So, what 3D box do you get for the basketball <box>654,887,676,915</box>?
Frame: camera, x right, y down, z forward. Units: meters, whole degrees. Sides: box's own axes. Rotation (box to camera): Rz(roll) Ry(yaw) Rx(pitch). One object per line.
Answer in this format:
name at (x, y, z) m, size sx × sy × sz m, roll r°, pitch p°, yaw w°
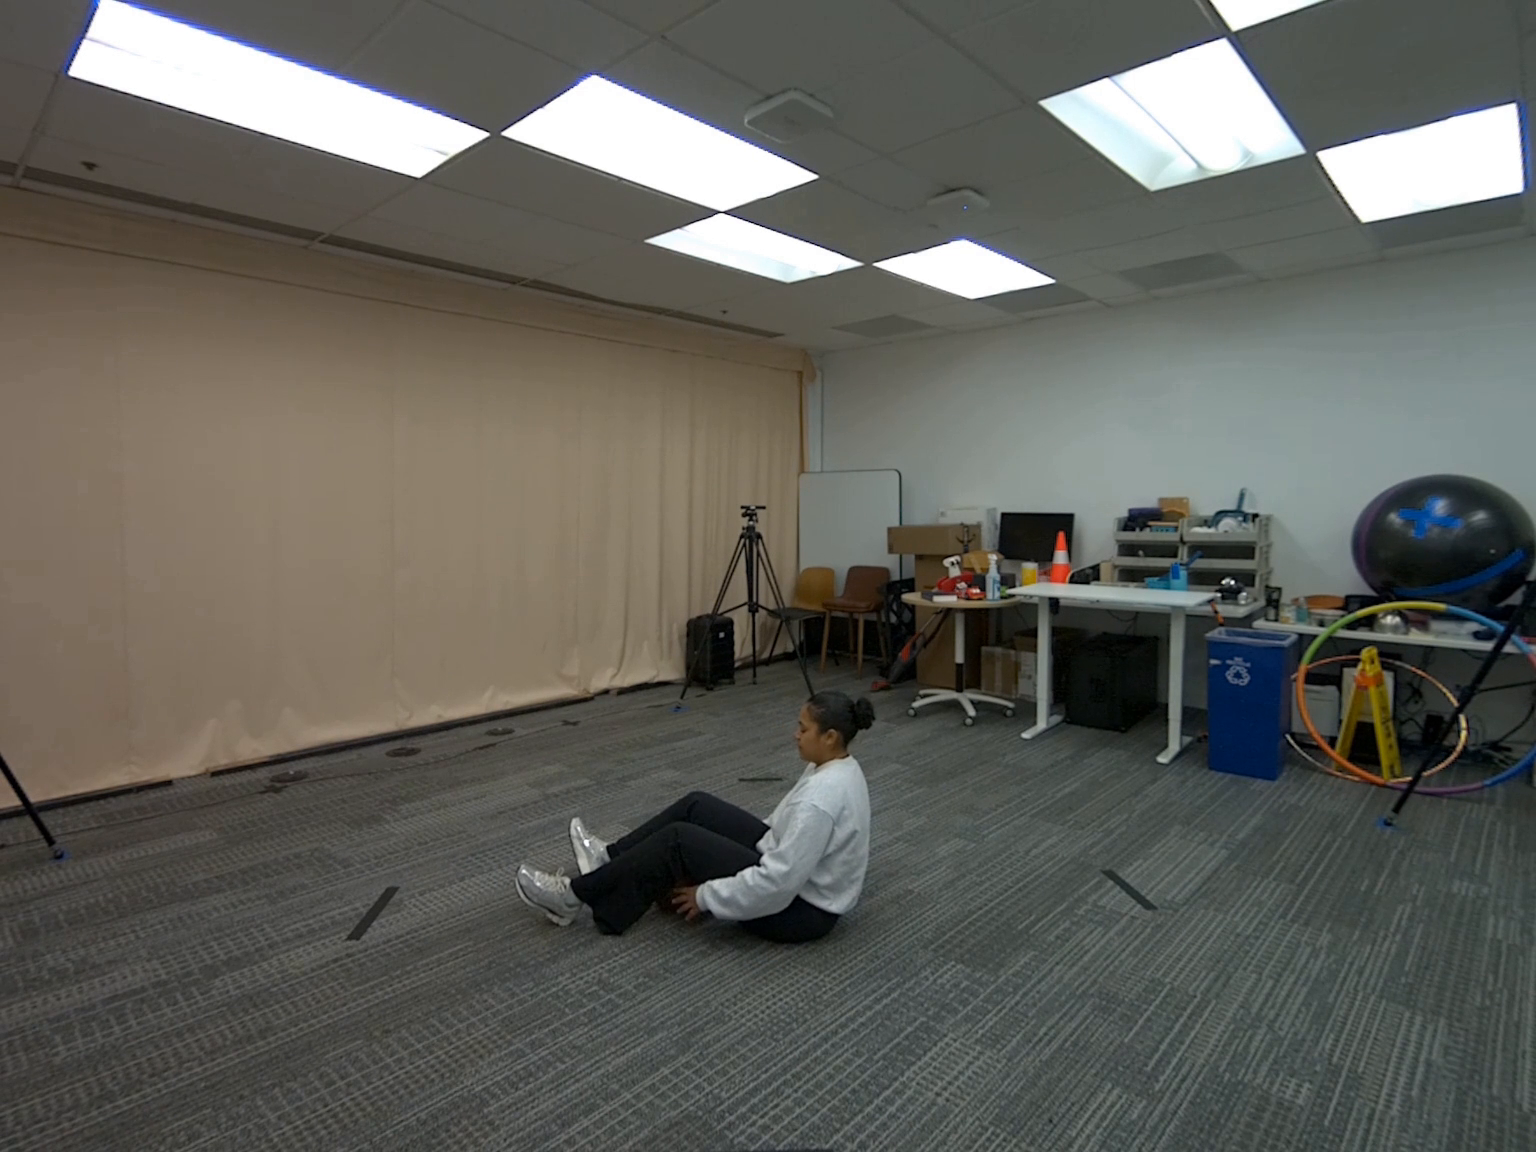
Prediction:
basketball at (-0.309, 1.023, 2.928) m, size 0.236 × 0.235 × 0.237 m, roll 0°, pitch 4°, yaw -2°
